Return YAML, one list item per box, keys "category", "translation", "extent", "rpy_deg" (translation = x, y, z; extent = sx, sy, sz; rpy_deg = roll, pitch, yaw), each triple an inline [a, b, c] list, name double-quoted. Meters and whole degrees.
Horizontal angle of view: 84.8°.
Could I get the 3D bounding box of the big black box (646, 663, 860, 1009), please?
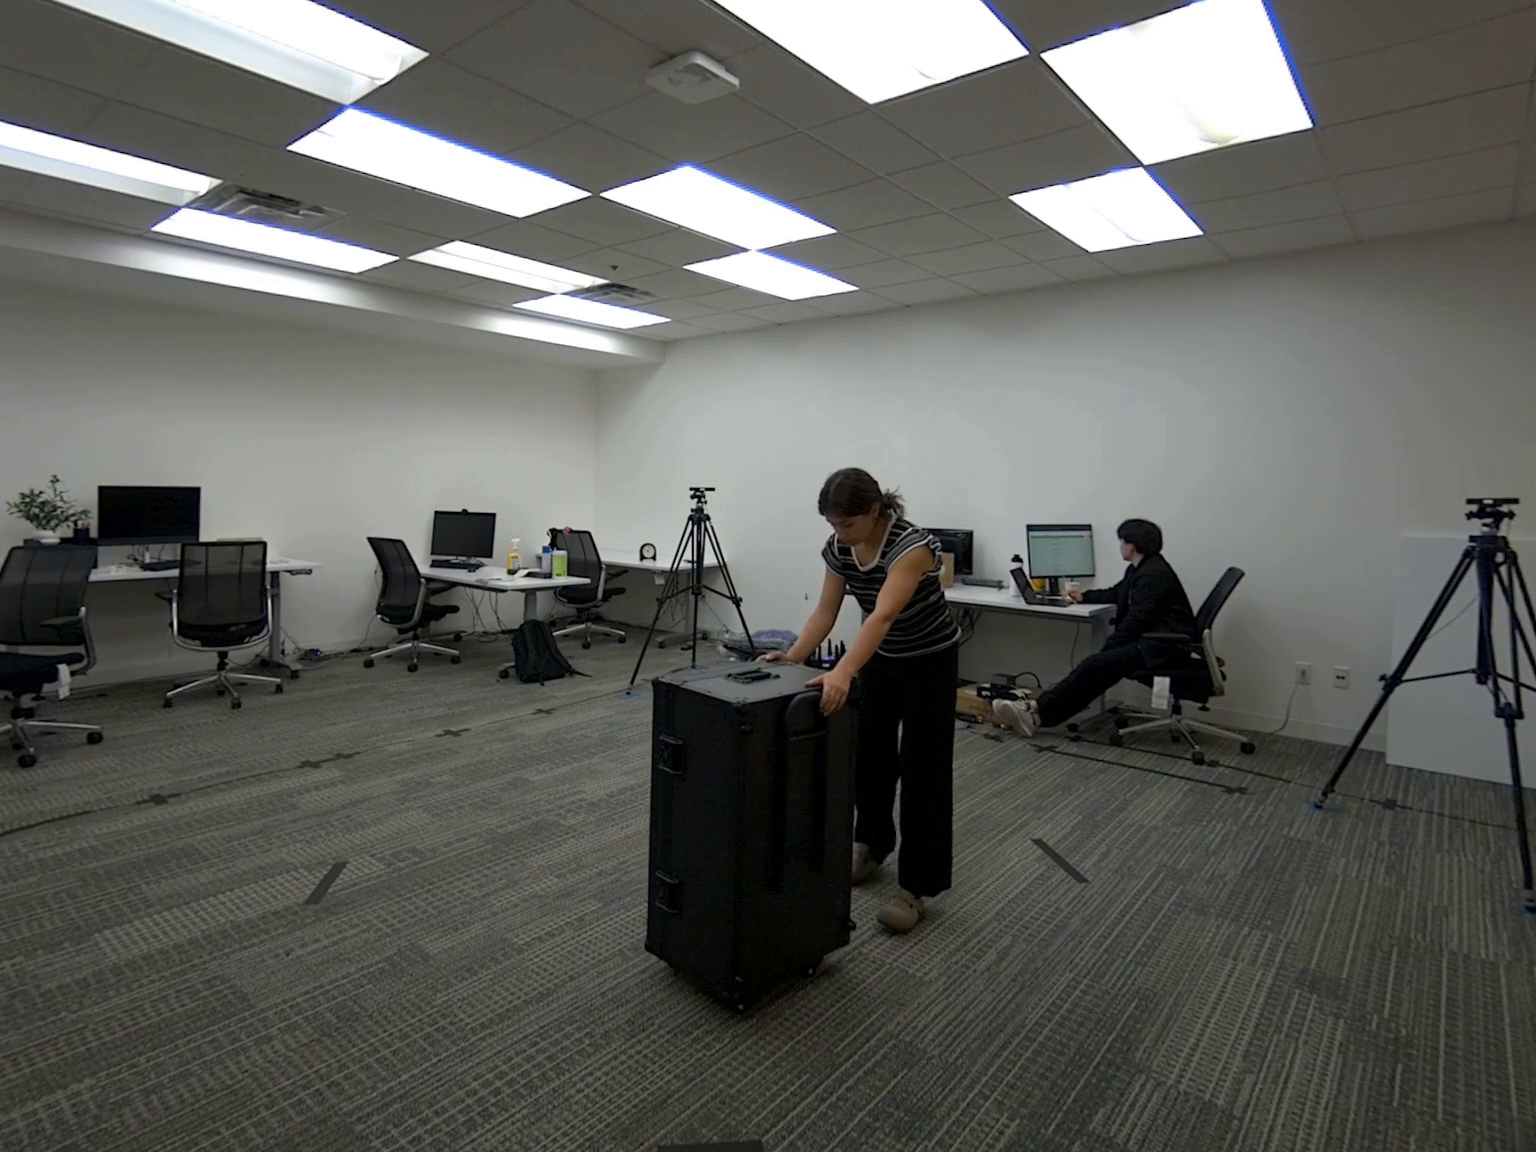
- category: "big black box"
  translation: [-0.041, 0.717, 2.425]
  extent: [0.505, 0.858, 0.410]
  rpy_deg: [-2, 5, -44]
